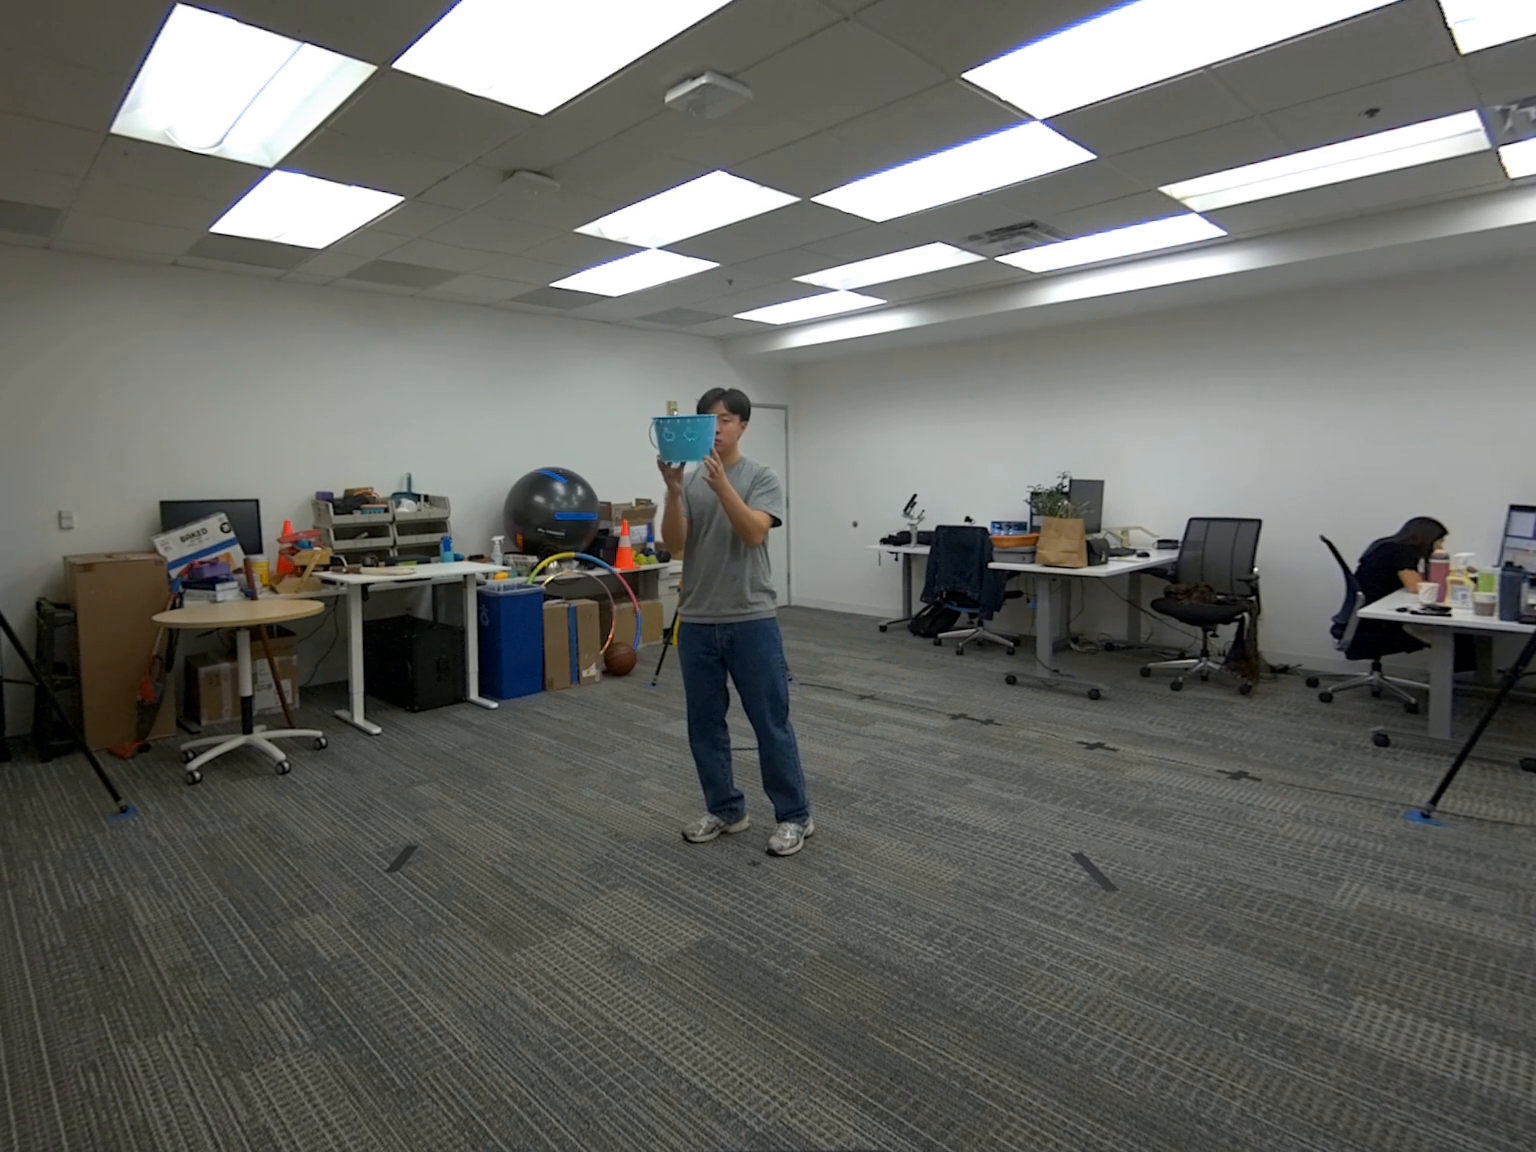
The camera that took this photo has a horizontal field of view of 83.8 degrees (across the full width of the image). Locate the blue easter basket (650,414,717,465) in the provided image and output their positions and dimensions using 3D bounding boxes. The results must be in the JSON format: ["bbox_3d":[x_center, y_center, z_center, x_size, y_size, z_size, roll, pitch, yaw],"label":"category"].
[{"bbox_3d":[-0.281,-0.476,2.942,0.243,0.155,0.245,-3,8,-1],"label":"blue easter basket"}]
